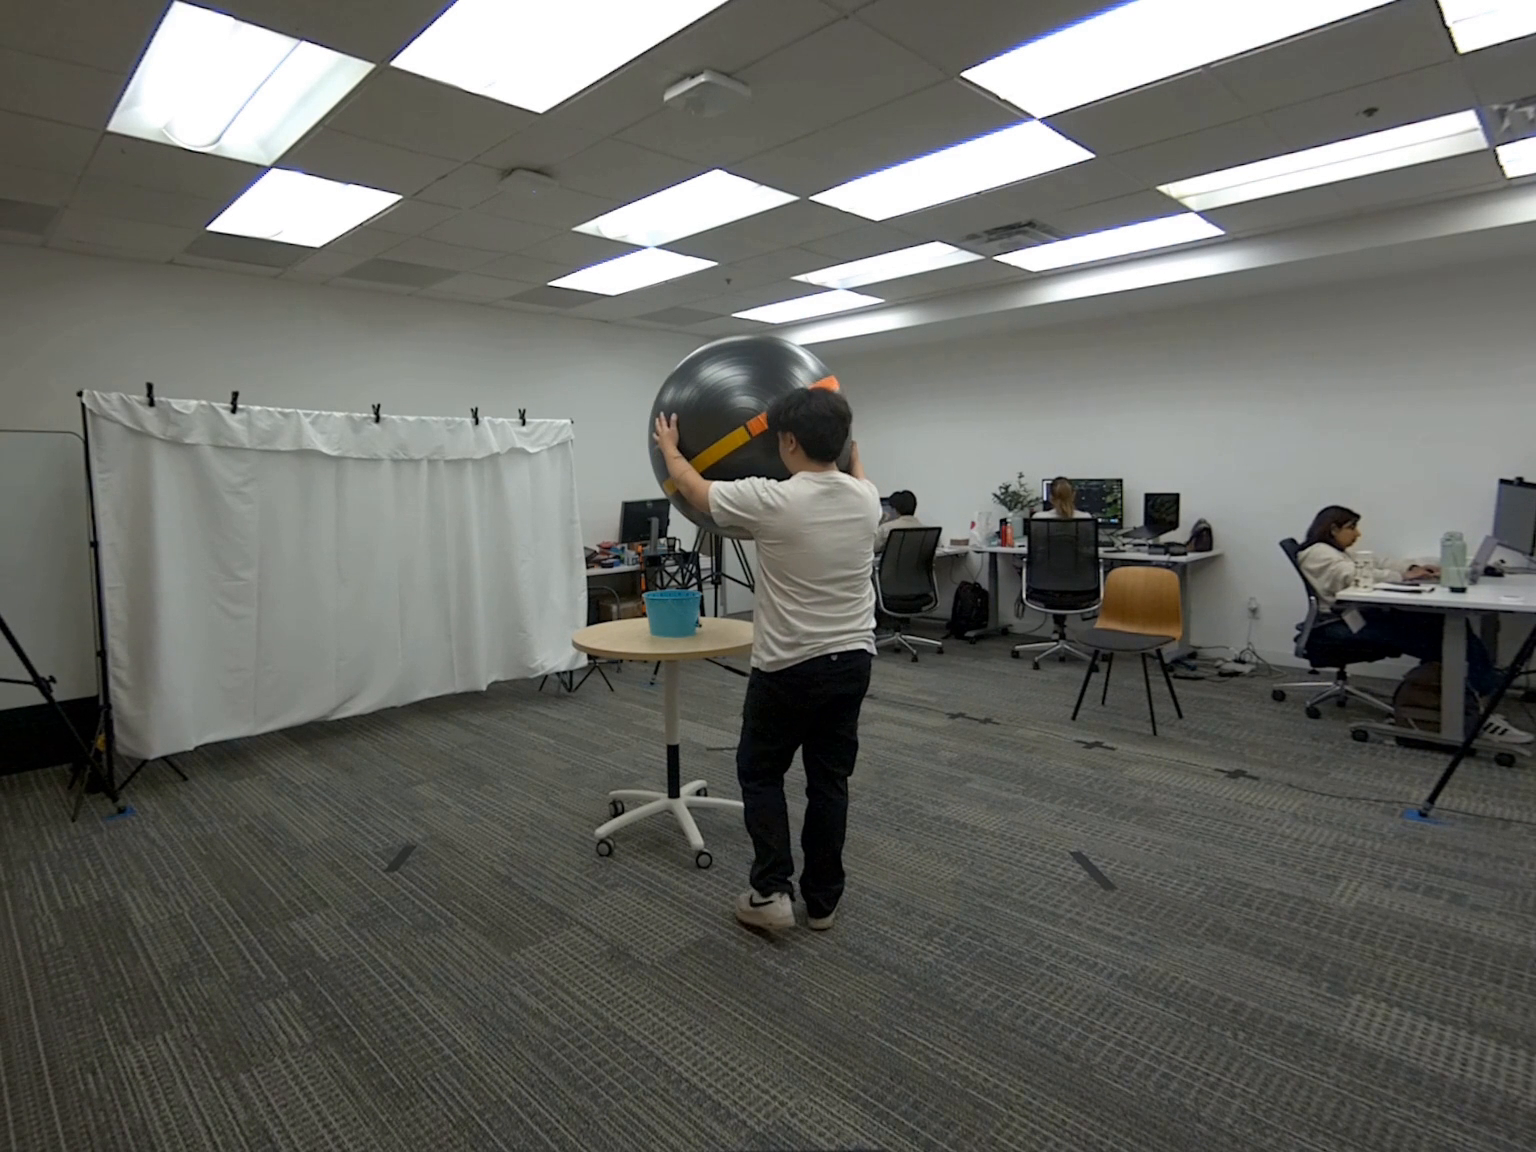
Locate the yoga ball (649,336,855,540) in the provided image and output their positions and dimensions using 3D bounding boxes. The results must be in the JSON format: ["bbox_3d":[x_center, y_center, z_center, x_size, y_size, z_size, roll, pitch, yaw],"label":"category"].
[{"bbox_3d":[-0.070,-0.511,3.188,0.757,0.755,0.762,-1,5,-2],"label":"yoga ball"}]
